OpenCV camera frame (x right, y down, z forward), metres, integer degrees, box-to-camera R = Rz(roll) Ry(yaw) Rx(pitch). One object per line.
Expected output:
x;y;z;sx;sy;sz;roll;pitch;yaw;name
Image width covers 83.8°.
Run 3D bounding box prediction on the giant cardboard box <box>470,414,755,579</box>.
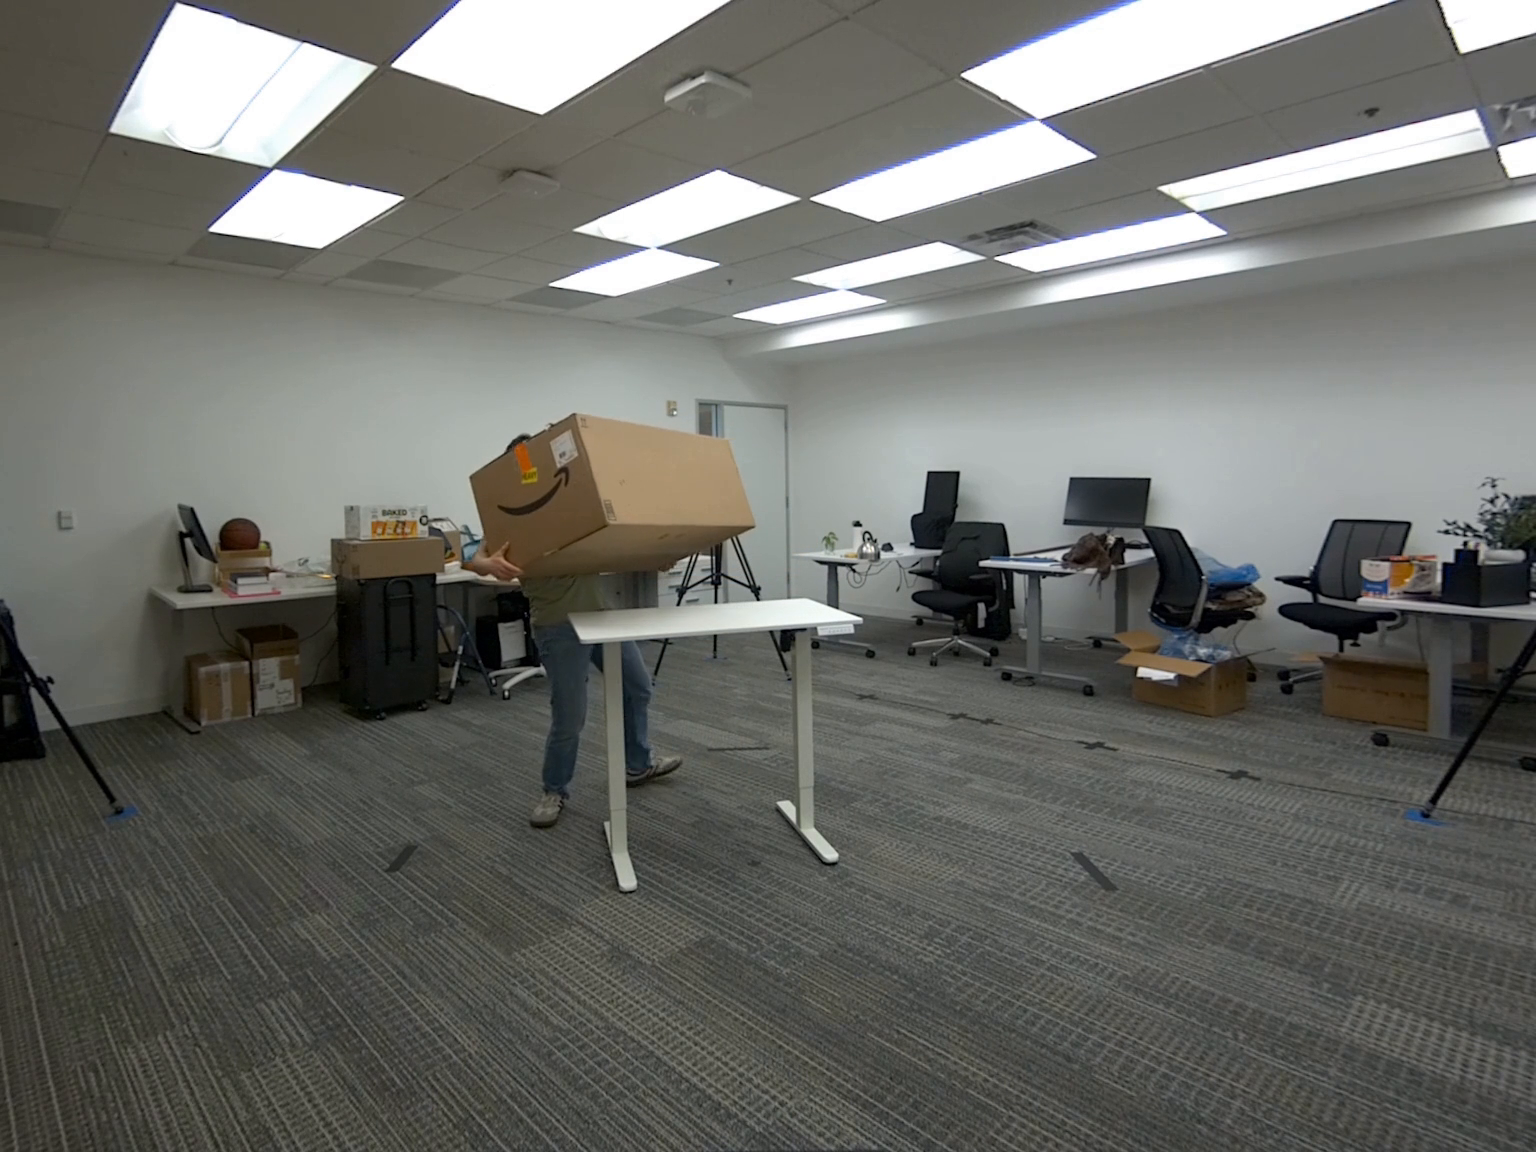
-0.590;-0.302;3.503;0.585;0.431;1.001;-23;-9;29;giant cardboard box
